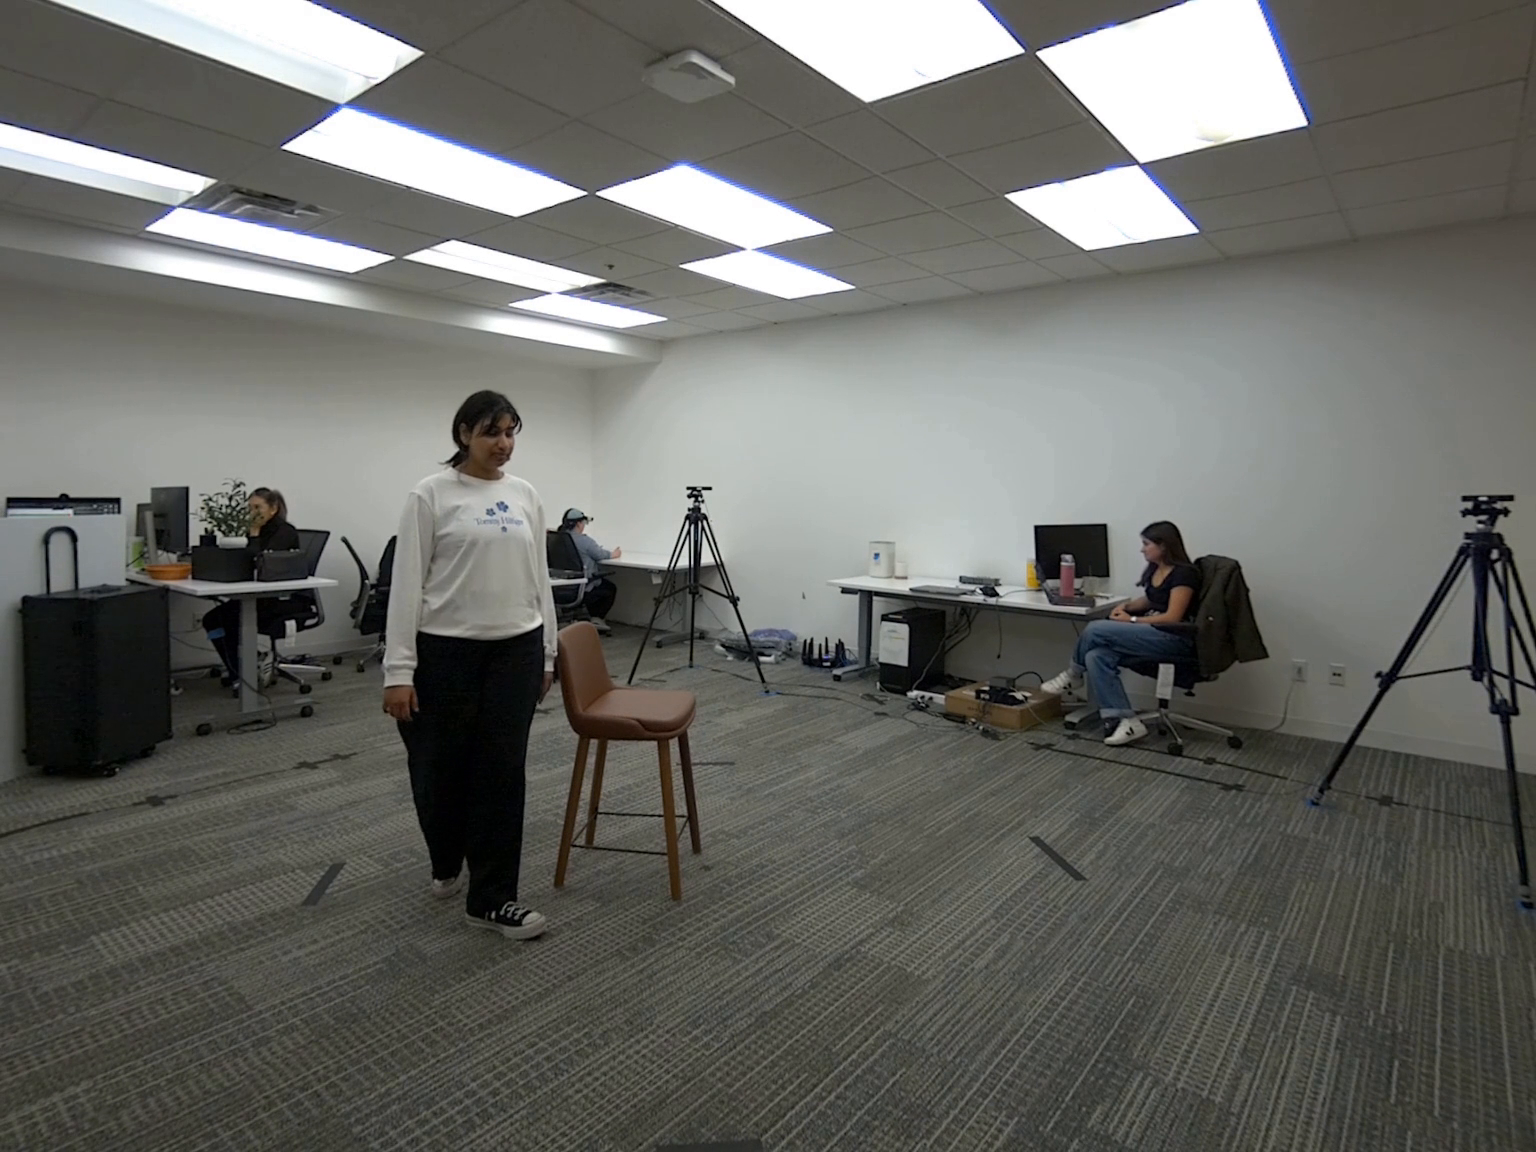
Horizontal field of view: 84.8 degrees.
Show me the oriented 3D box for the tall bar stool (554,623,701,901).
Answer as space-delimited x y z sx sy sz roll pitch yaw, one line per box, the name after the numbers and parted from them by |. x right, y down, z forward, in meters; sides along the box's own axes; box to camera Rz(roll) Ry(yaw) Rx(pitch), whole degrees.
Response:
-0.500 0.631 3.068 0.472 0.888 0.453 0 3 8 | tall bar stool
